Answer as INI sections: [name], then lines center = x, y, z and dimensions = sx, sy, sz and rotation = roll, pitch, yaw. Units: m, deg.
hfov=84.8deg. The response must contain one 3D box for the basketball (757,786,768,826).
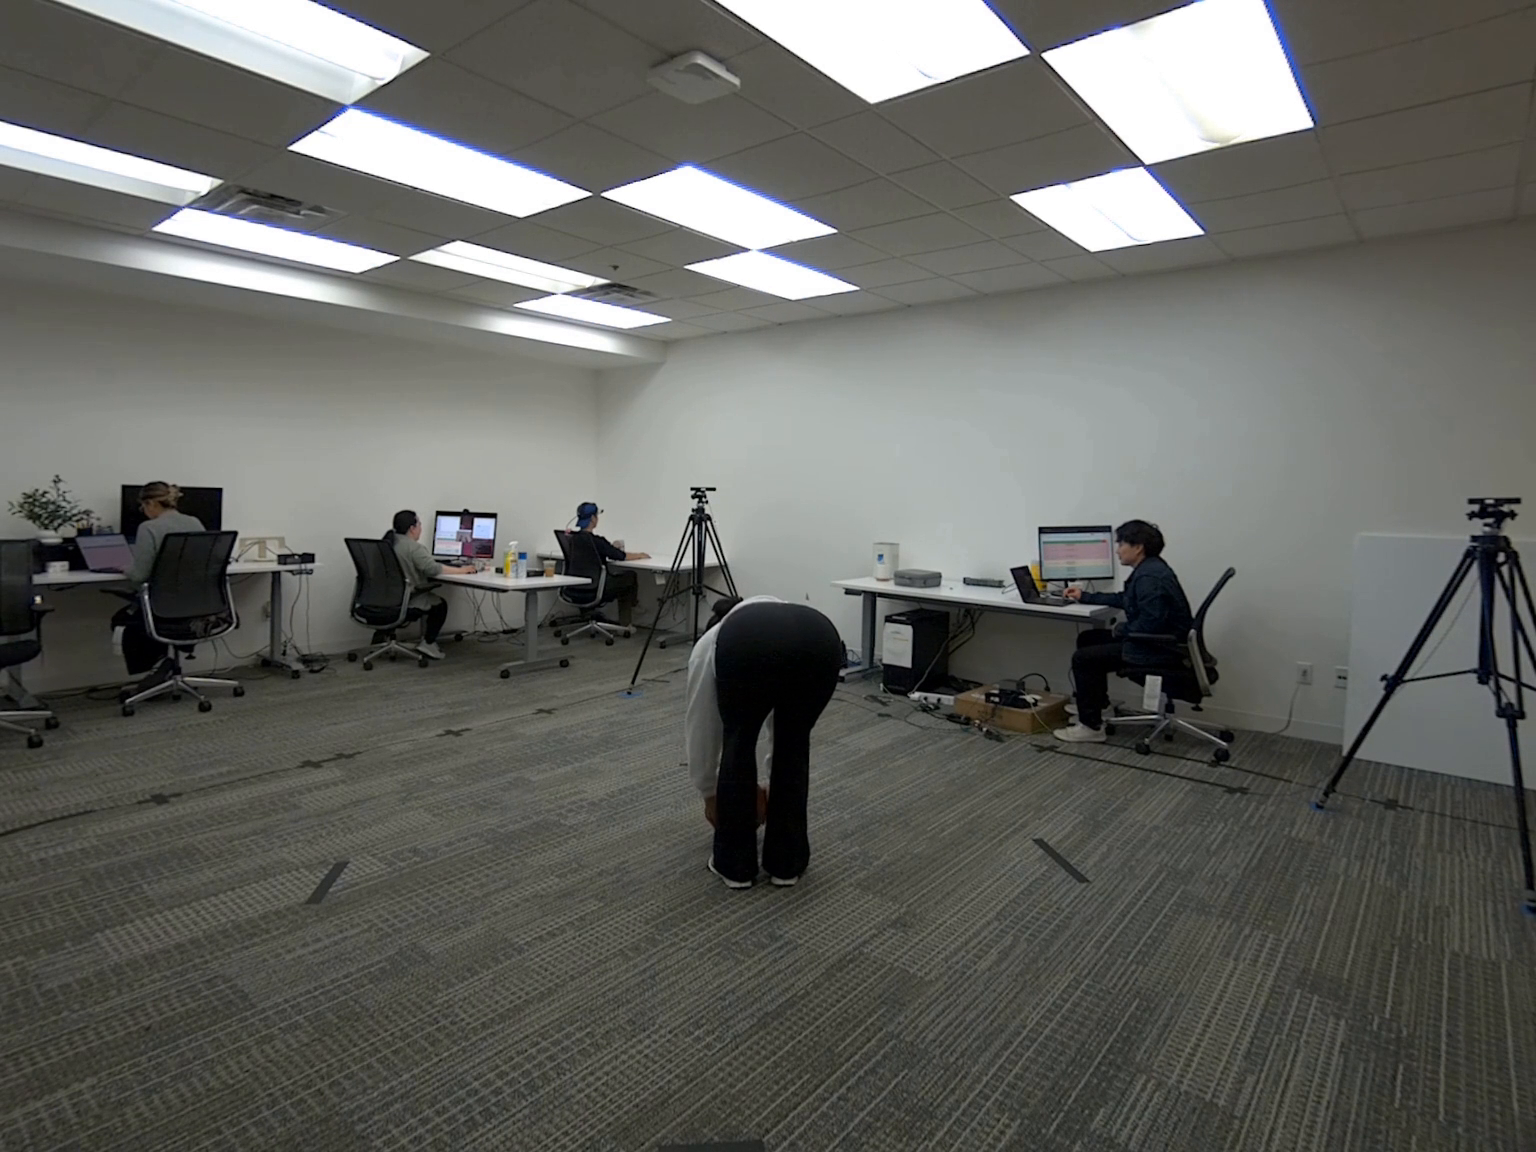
[basketball]
center = -0.136, 0.891, 3.368
dimensions = 0.235, 0.235, 0.237
rotation = 1, 4, -2
